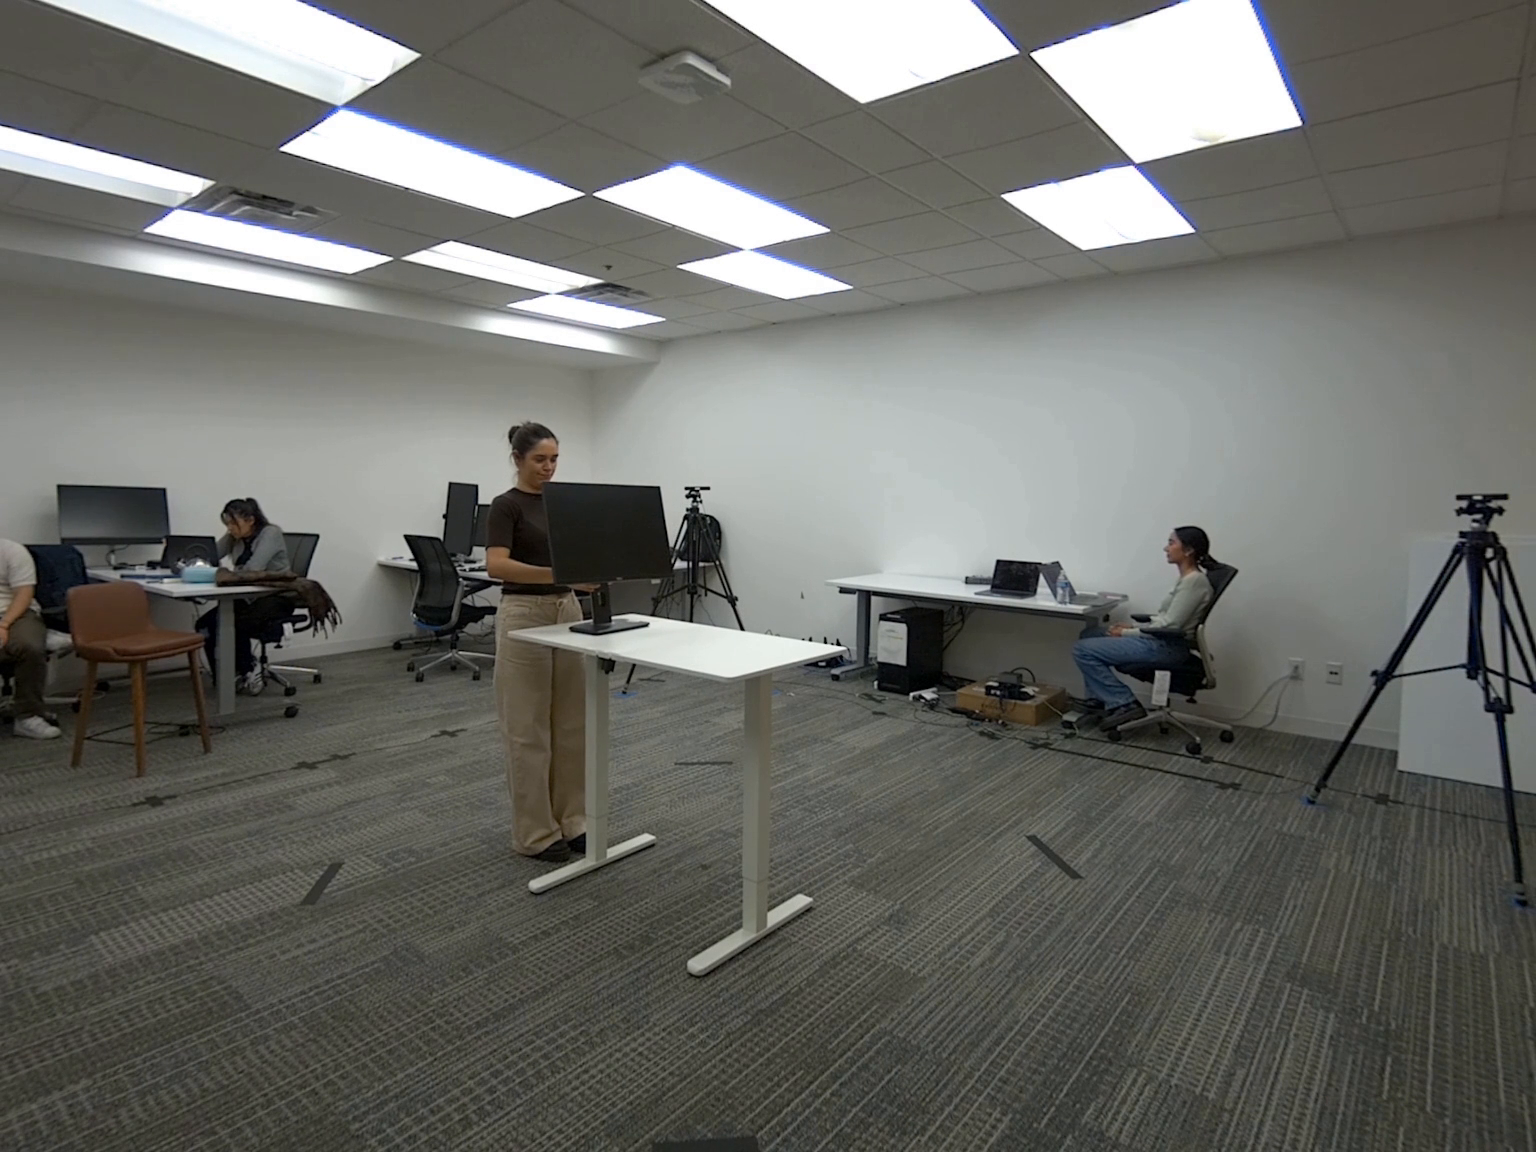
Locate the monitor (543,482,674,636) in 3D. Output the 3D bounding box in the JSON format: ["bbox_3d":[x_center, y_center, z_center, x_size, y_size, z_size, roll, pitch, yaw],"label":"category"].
[{"bbox_3d":[-0.587,-0.066,3.018,0.193,0.522,0.523,1,2,39],"label":"monitor"}]
